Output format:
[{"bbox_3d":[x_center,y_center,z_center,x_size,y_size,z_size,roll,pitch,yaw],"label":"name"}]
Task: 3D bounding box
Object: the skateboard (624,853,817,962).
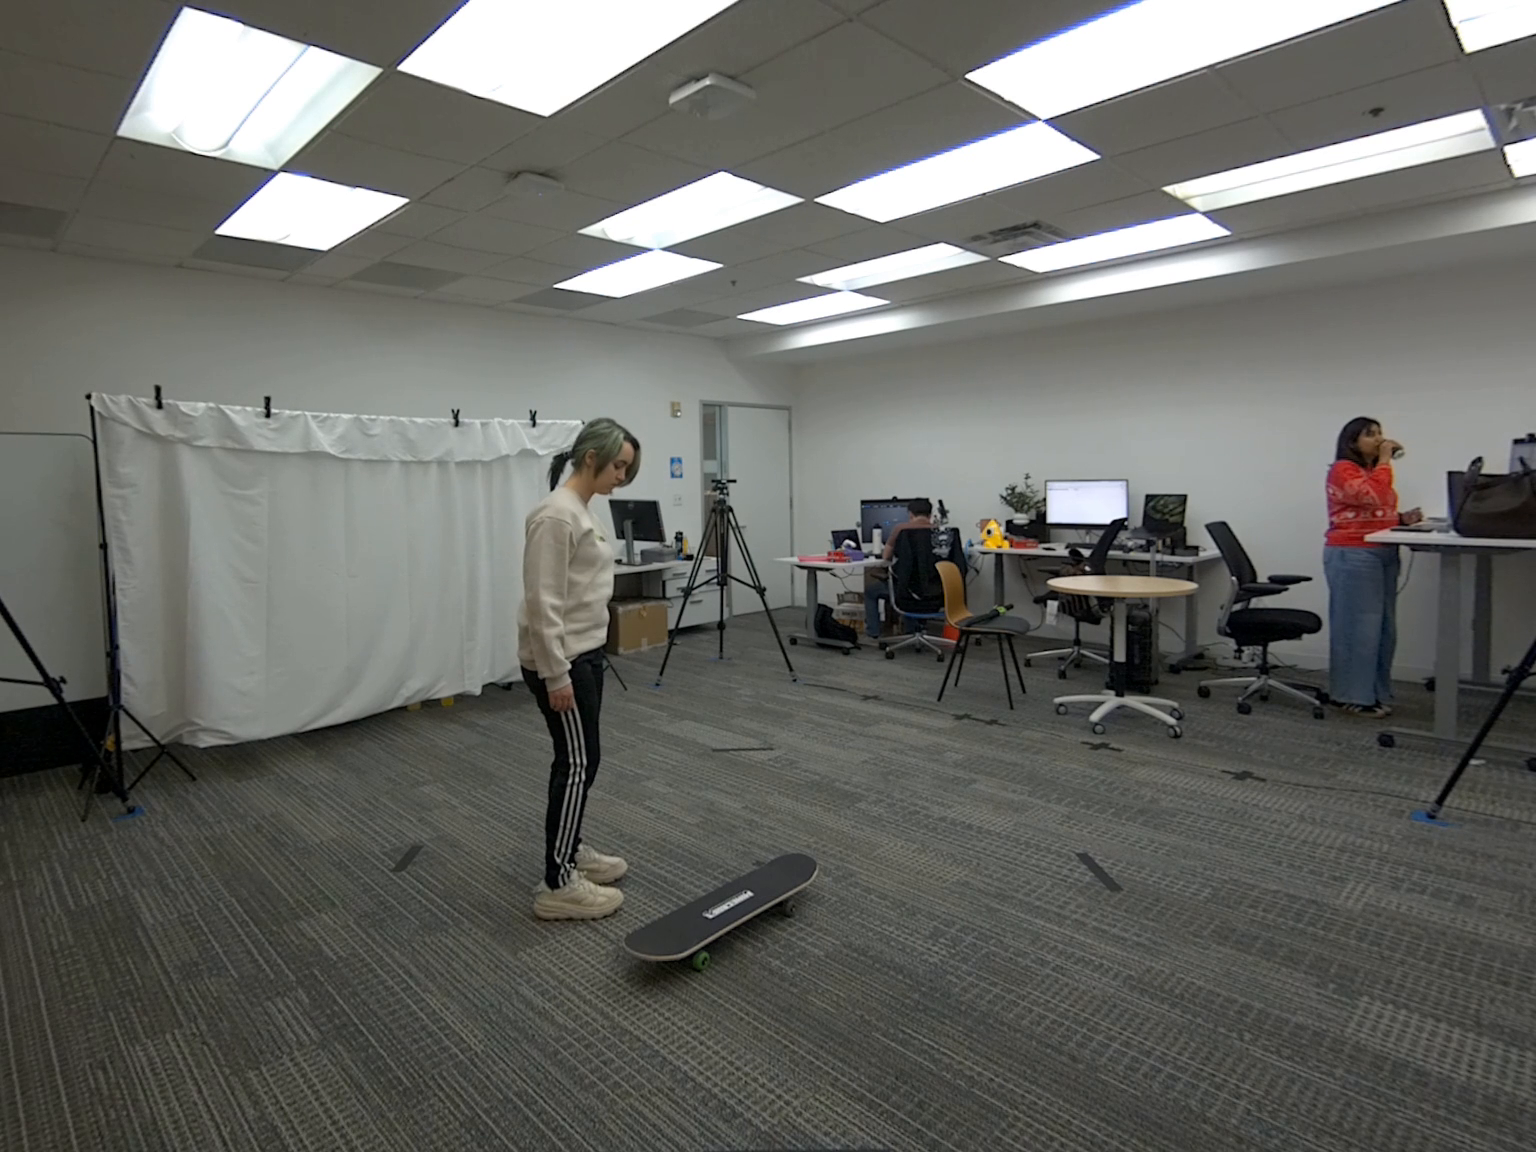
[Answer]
[{"bbox_3d":[-0.118,1.046,2.644,0.199,0.110,0.765,4,8,41],"label":"skateboard"}]
